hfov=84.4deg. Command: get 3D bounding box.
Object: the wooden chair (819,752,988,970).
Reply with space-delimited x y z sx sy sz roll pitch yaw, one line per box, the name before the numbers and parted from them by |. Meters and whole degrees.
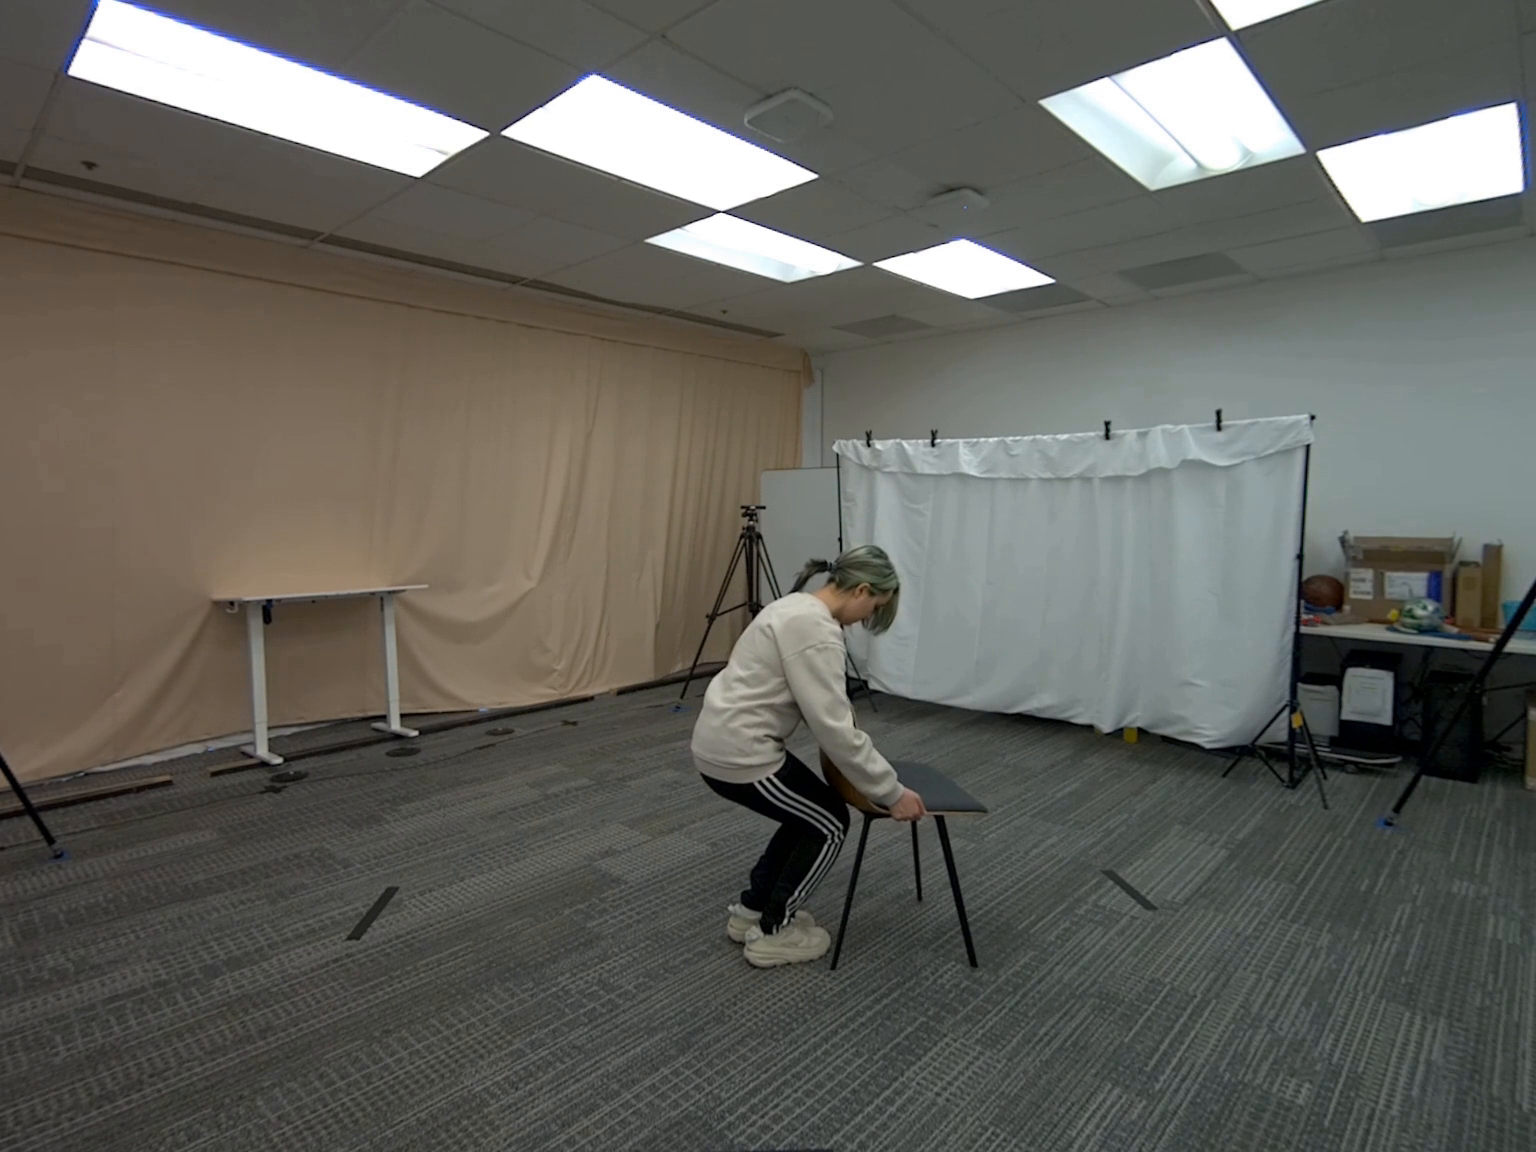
wooden chair | 0.412 0.727 2.697 0.517 0.875 0.484 -2 4 -11
